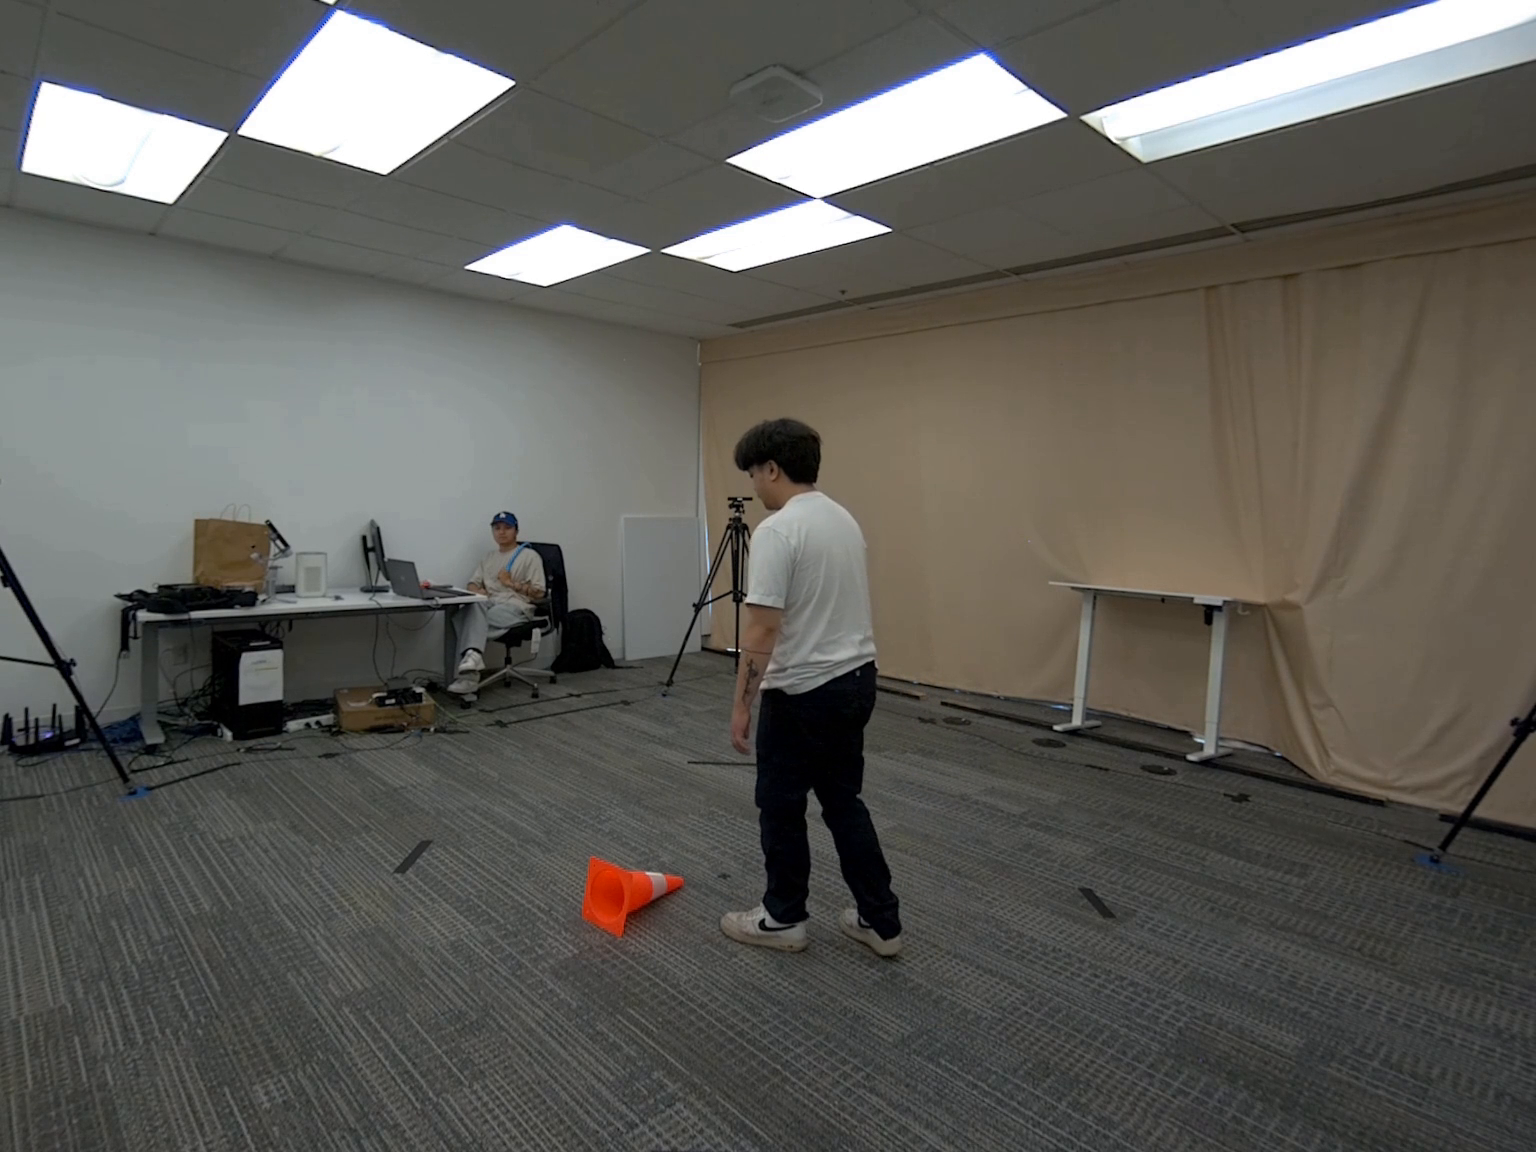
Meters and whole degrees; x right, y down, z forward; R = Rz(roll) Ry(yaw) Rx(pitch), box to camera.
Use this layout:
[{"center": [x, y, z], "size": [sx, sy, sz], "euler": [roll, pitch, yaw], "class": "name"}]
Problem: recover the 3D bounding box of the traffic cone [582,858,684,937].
[{"center": [-0.428, 1.071, 2.875], "size": [0.210, 0.204, 0.373], "euler": [7, -6, 37], "class": "traffic cone"}]
